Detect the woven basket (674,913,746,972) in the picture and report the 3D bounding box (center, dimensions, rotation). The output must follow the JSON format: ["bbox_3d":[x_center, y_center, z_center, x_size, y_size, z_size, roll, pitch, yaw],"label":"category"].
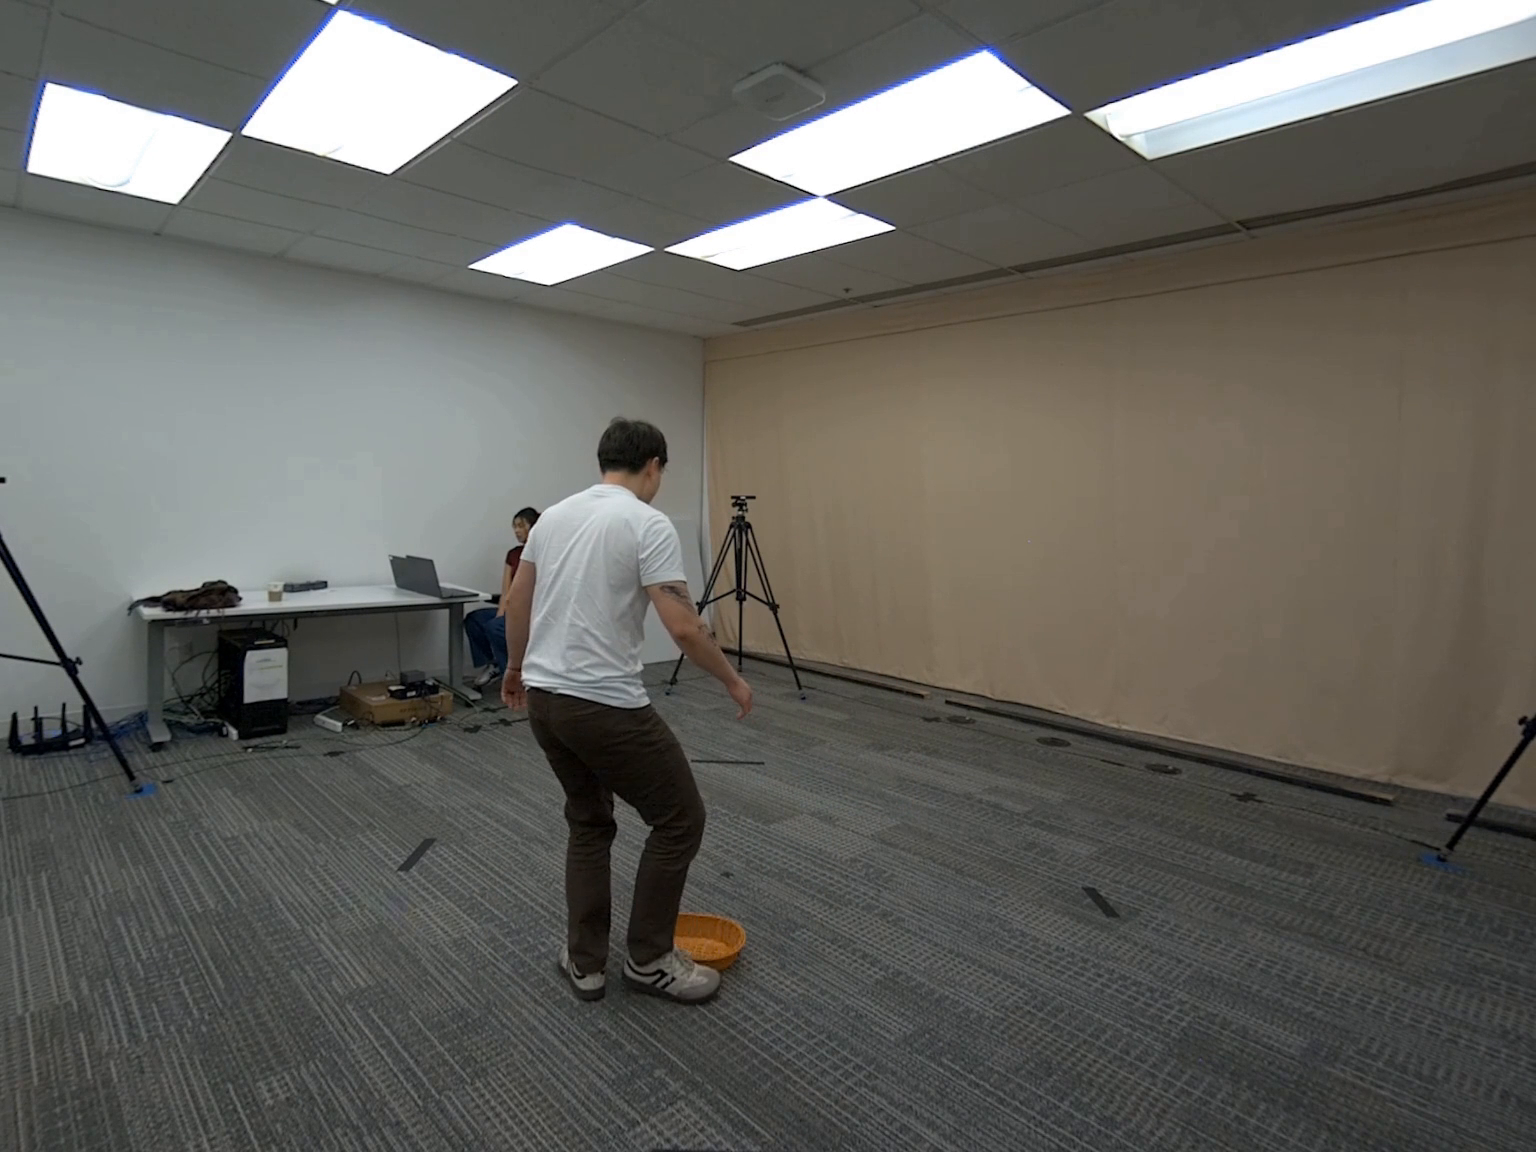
[{"bbox_3d":[-0.244,1.115,2.555,0.354,0.073,0.251,2,6,11],"label":"woven basket"}]
